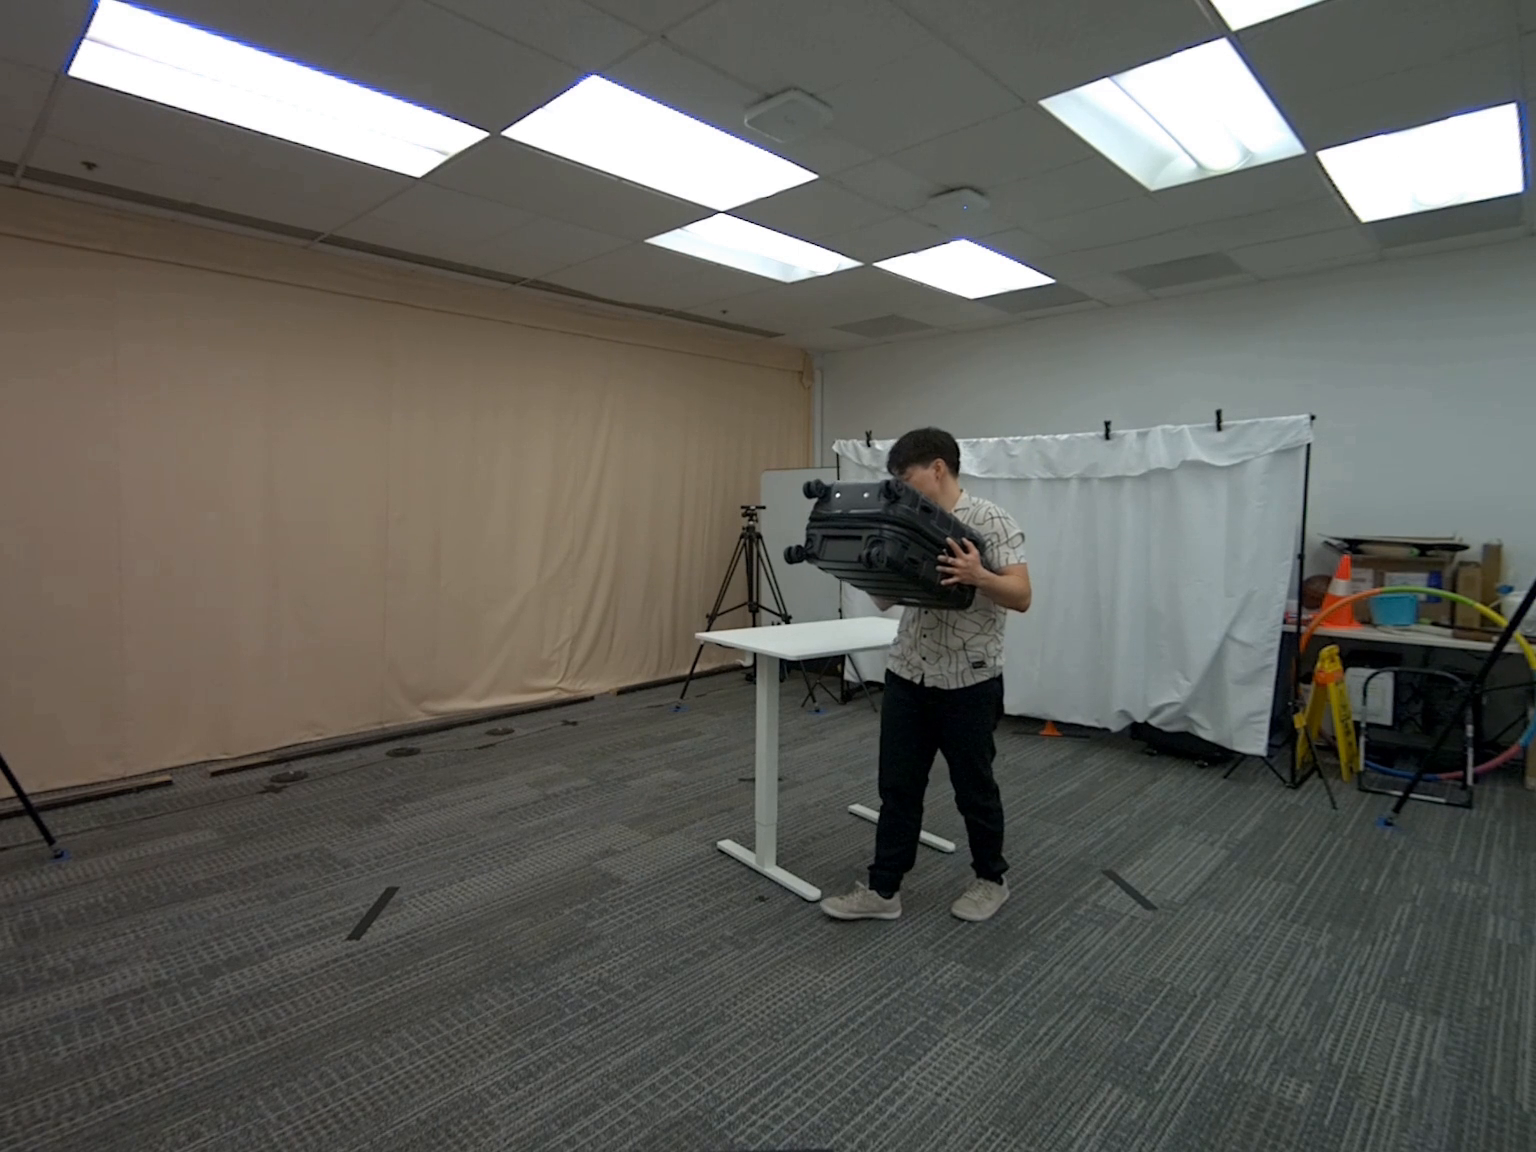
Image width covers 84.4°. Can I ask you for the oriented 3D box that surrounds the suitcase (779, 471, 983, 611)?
[{"bbox_3d":[0.374,-0.094,2.513,0.388,0.249,0.529,5,-14,44],"label":"suitcase"}]
